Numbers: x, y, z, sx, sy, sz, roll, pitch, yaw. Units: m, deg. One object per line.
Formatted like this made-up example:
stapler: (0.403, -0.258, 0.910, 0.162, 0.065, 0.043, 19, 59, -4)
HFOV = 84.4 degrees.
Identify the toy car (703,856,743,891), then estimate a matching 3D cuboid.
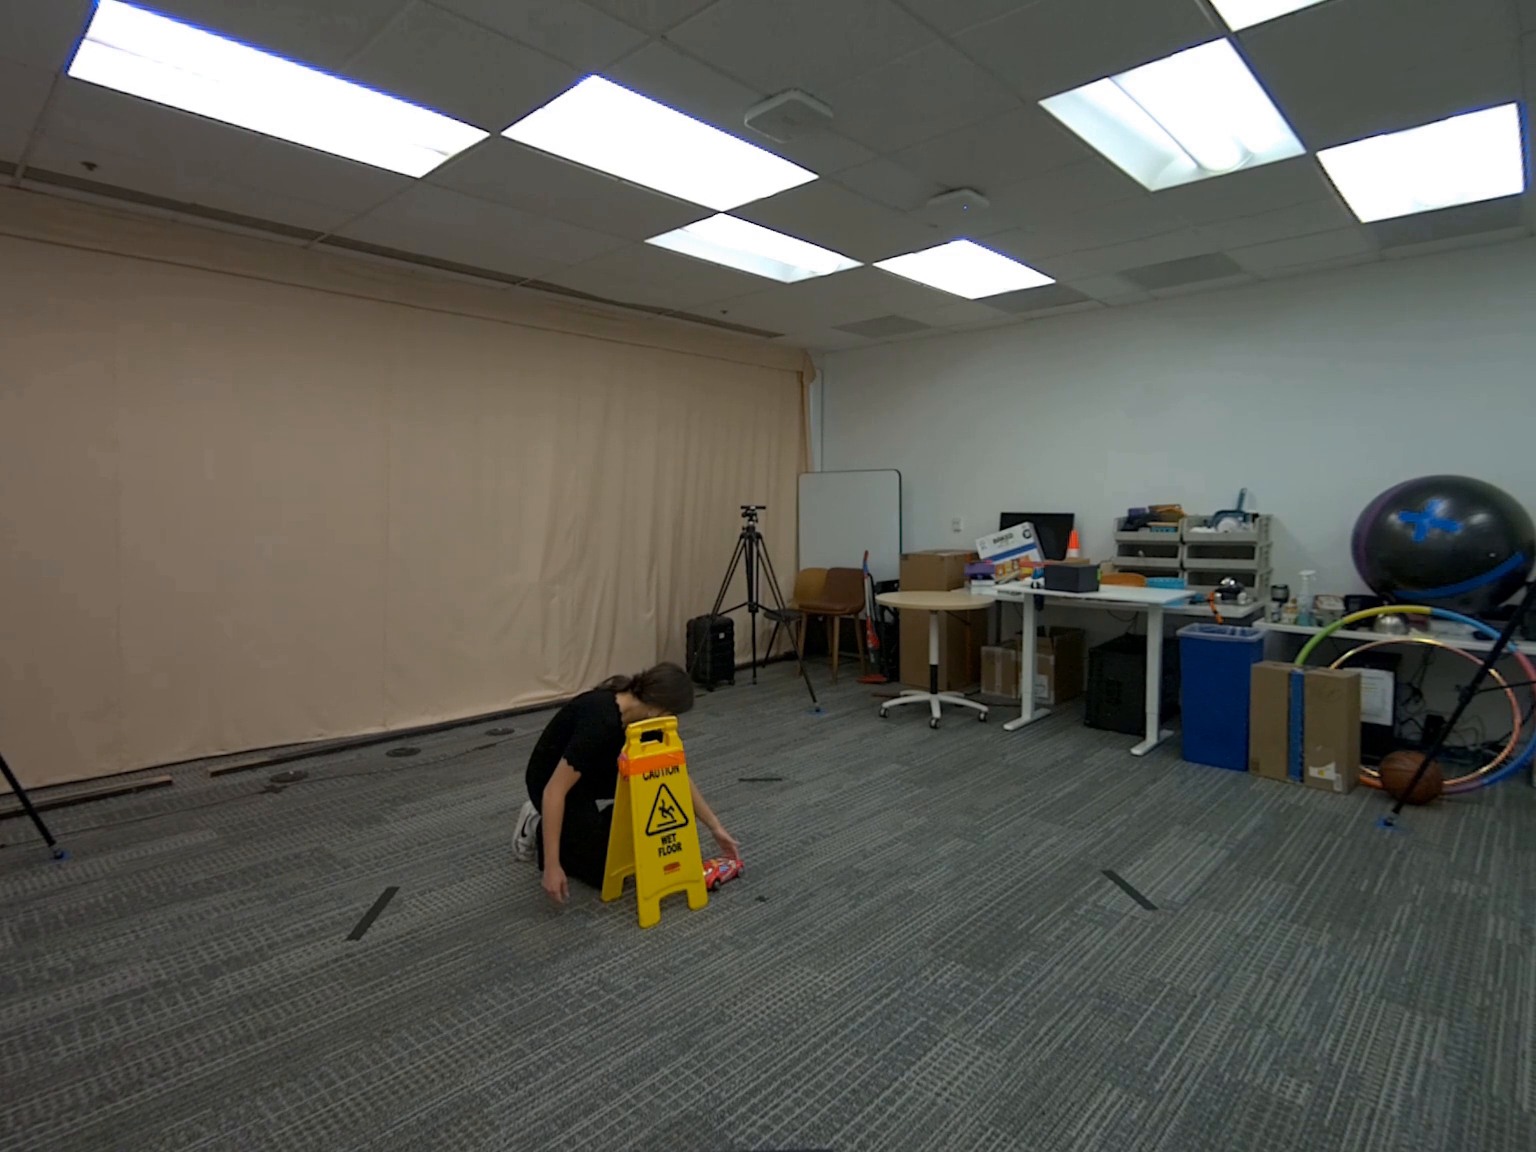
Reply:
toy car: (-0.200, 1.102, 3.106, 0.134, 0.083, 0.246, 4, -6, 38)
